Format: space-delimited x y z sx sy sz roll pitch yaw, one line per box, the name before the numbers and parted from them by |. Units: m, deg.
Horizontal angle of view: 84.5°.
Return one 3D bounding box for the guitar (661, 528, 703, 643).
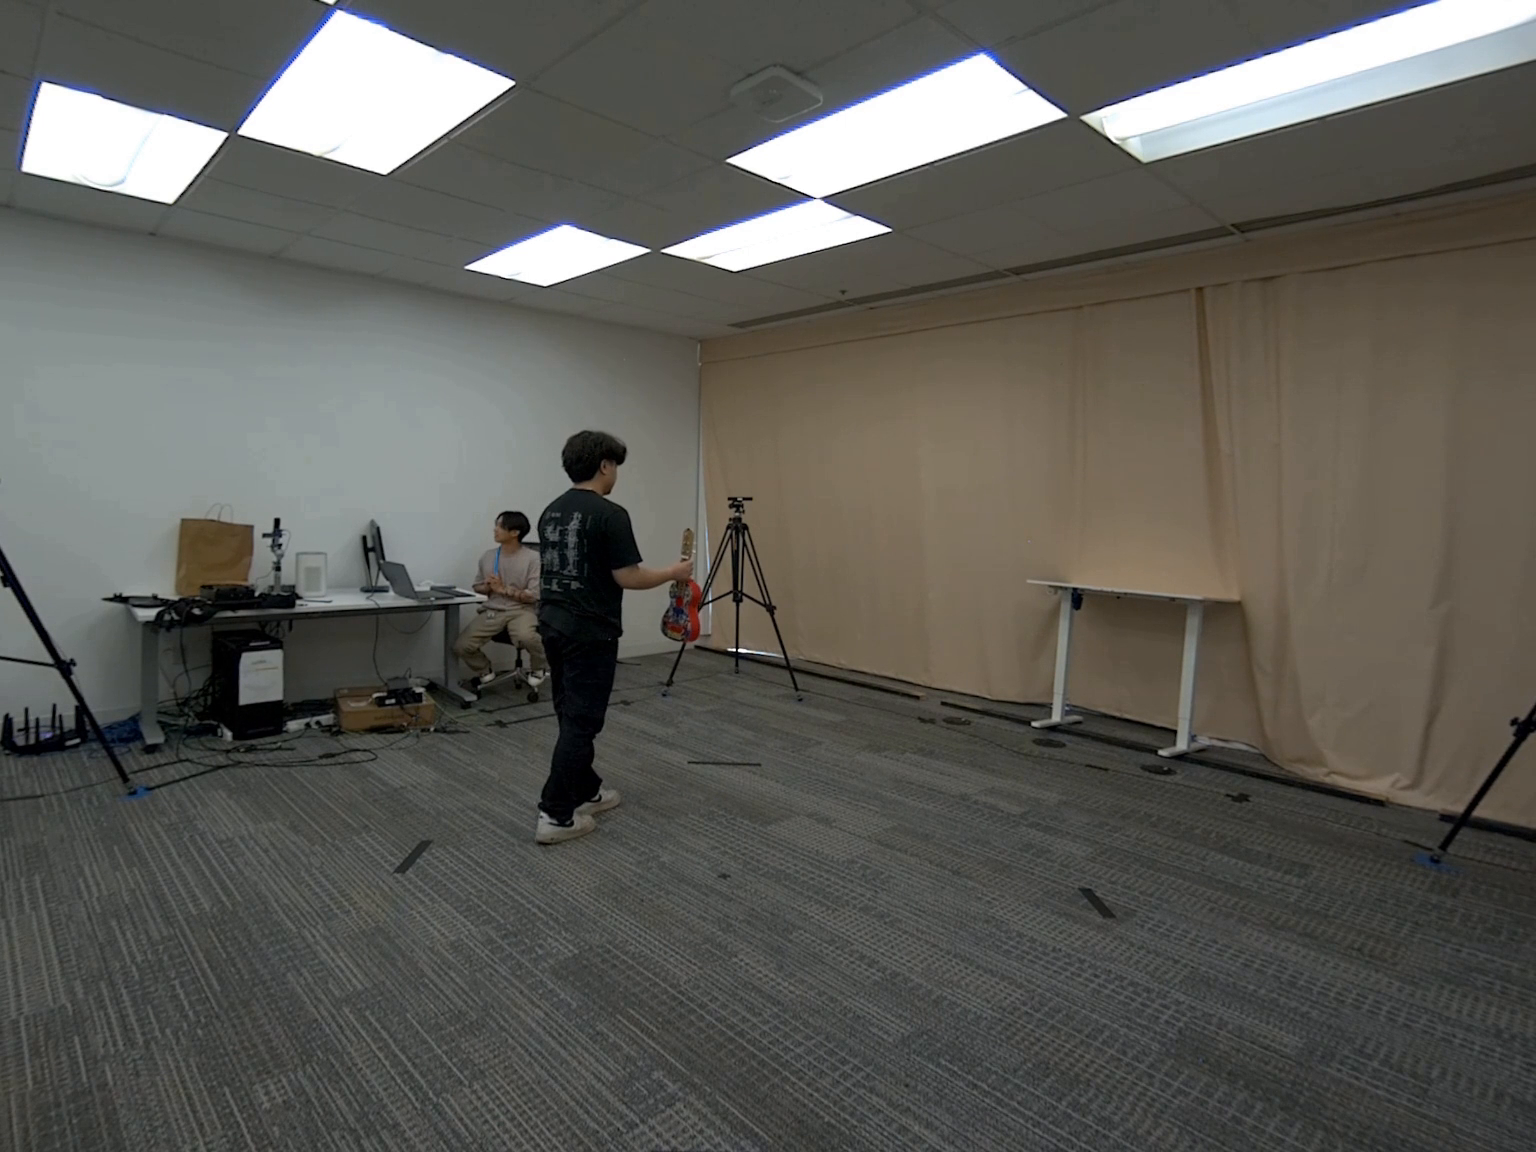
guitar | -0.355 0.047 3.704 0.199 0.495 0.069 20 11 40
